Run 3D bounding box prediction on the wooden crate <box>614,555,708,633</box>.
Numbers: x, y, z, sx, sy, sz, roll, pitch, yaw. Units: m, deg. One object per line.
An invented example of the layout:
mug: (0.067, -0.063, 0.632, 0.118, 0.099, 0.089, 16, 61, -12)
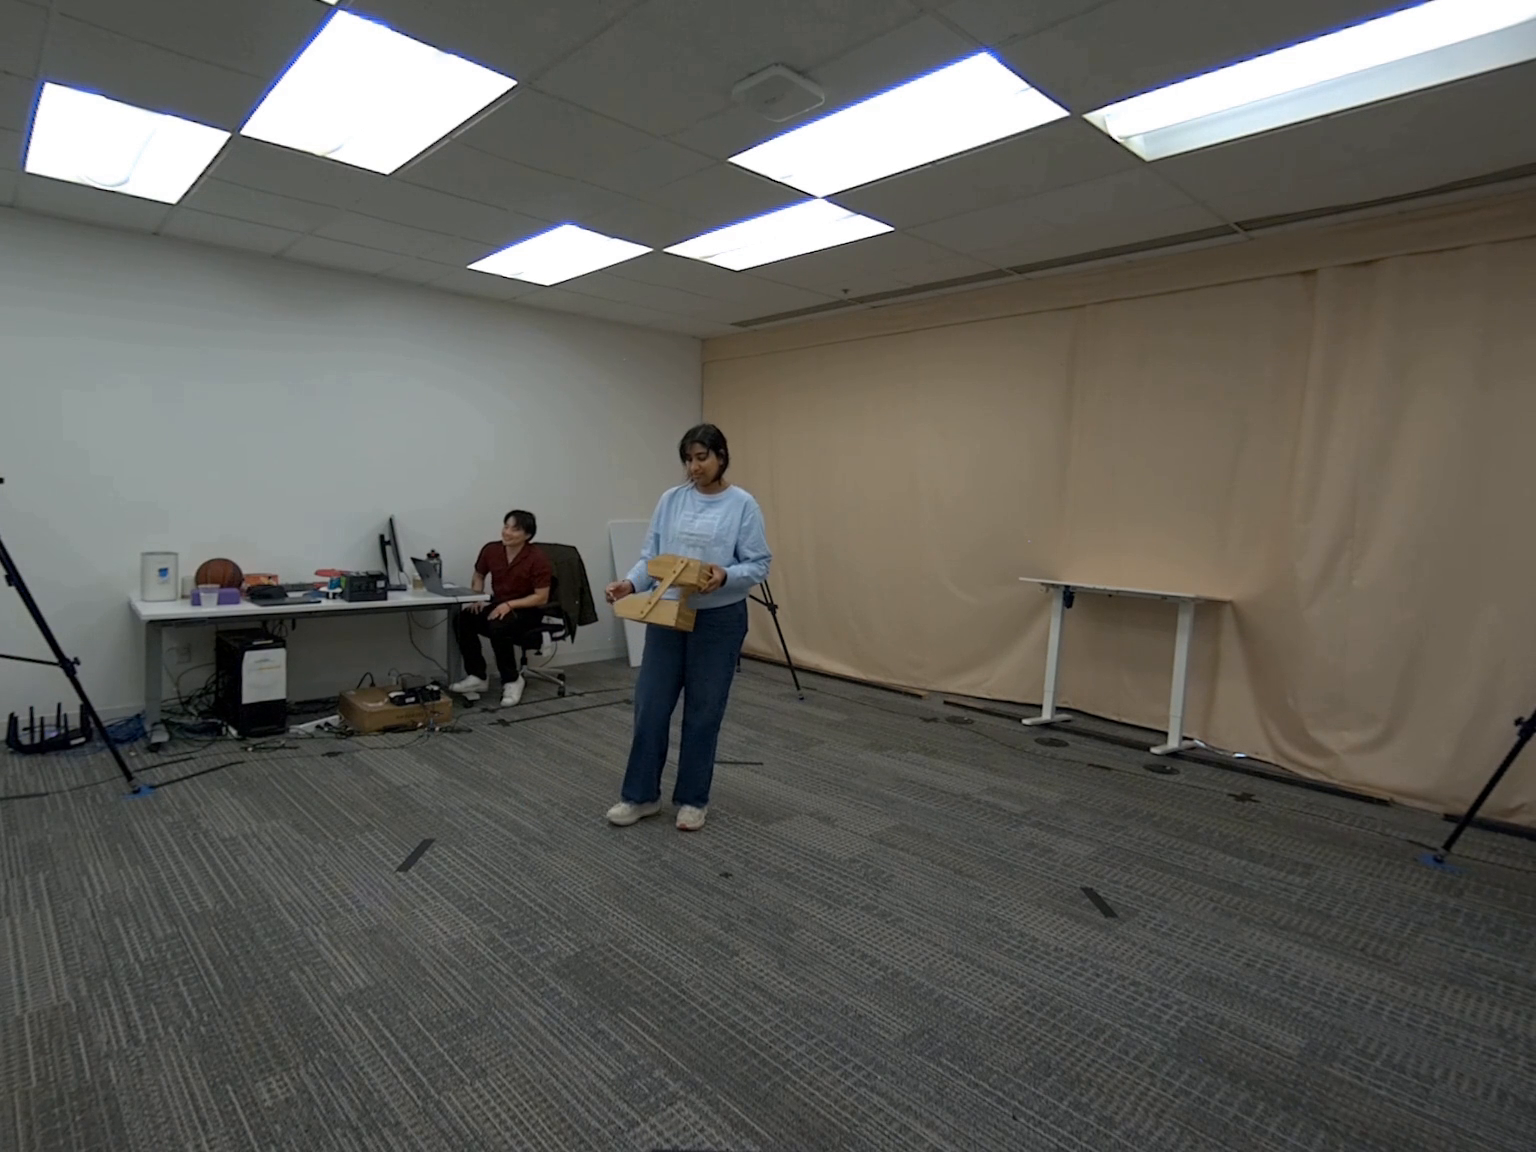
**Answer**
wooden crate: (-0.412, 0.058, 3.274, 0.306, 0.274, 0.319, 11, -6, 12)
